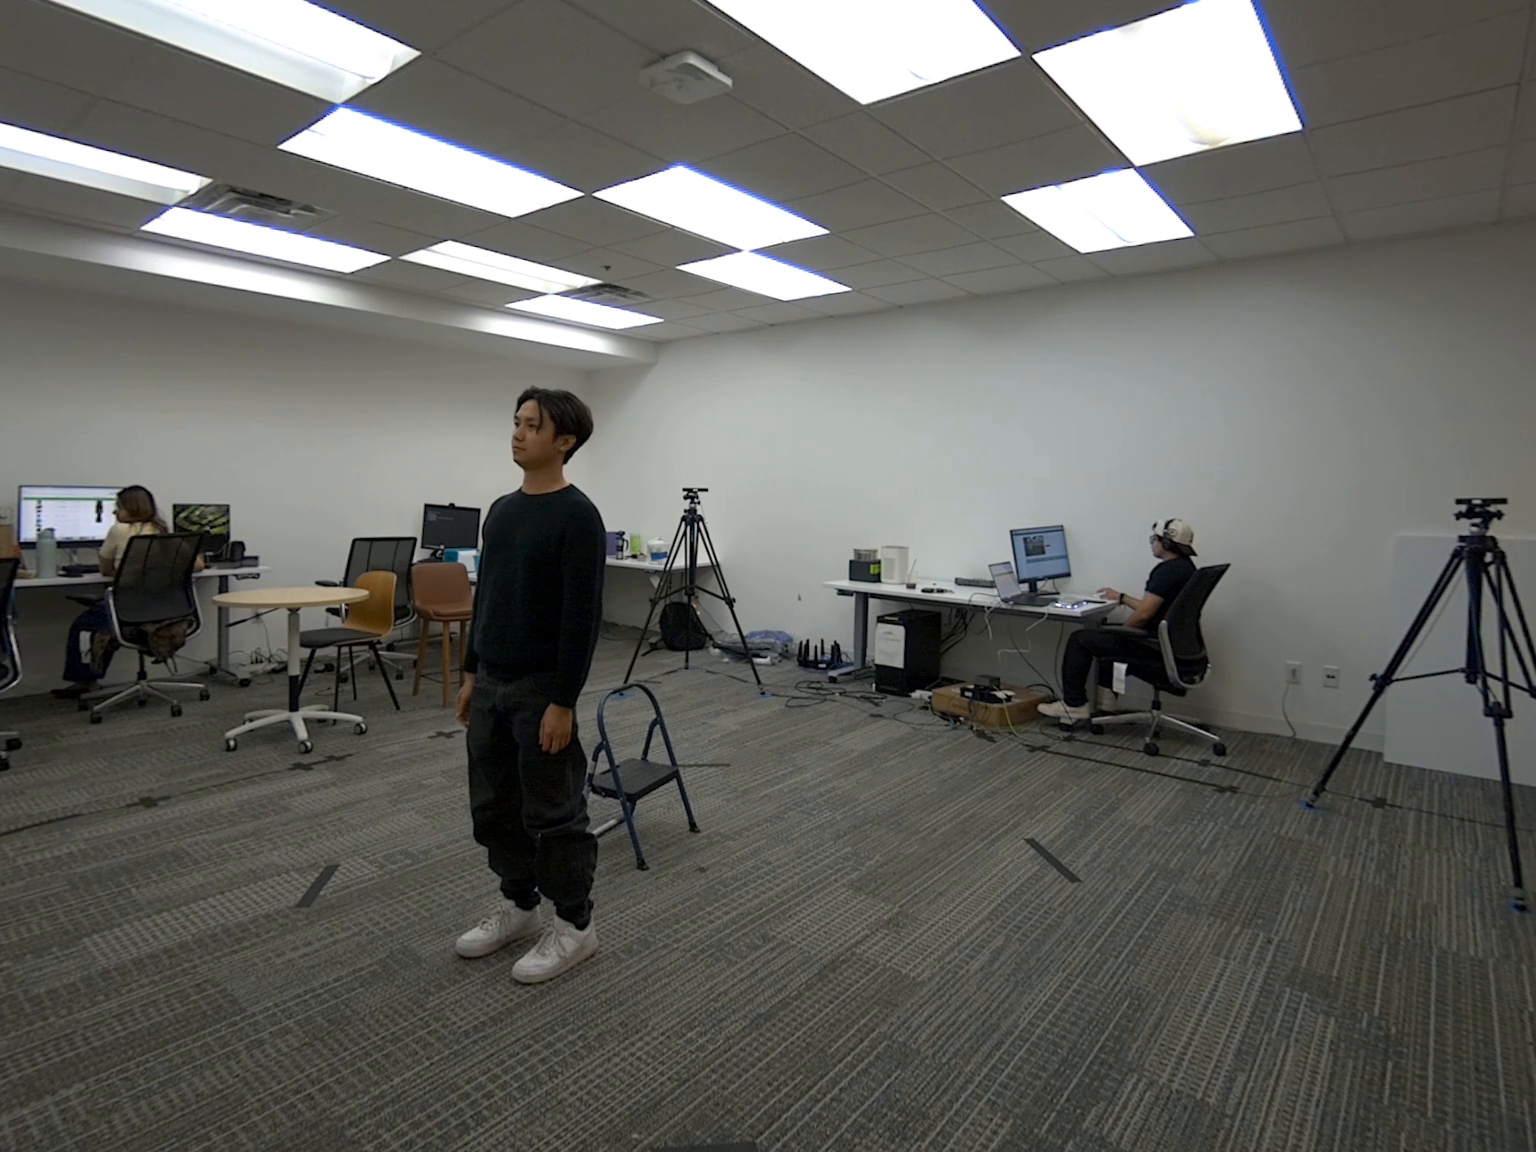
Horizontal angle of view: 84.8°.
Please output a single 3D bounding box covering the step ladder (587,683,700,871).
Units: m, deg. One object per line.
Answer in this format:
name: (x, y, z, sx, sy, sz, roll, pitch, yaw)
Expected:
step ladder: (-0.523, 0.736, 3.342, 0.358, 0.604, 0.421, 3, 4, 25)
